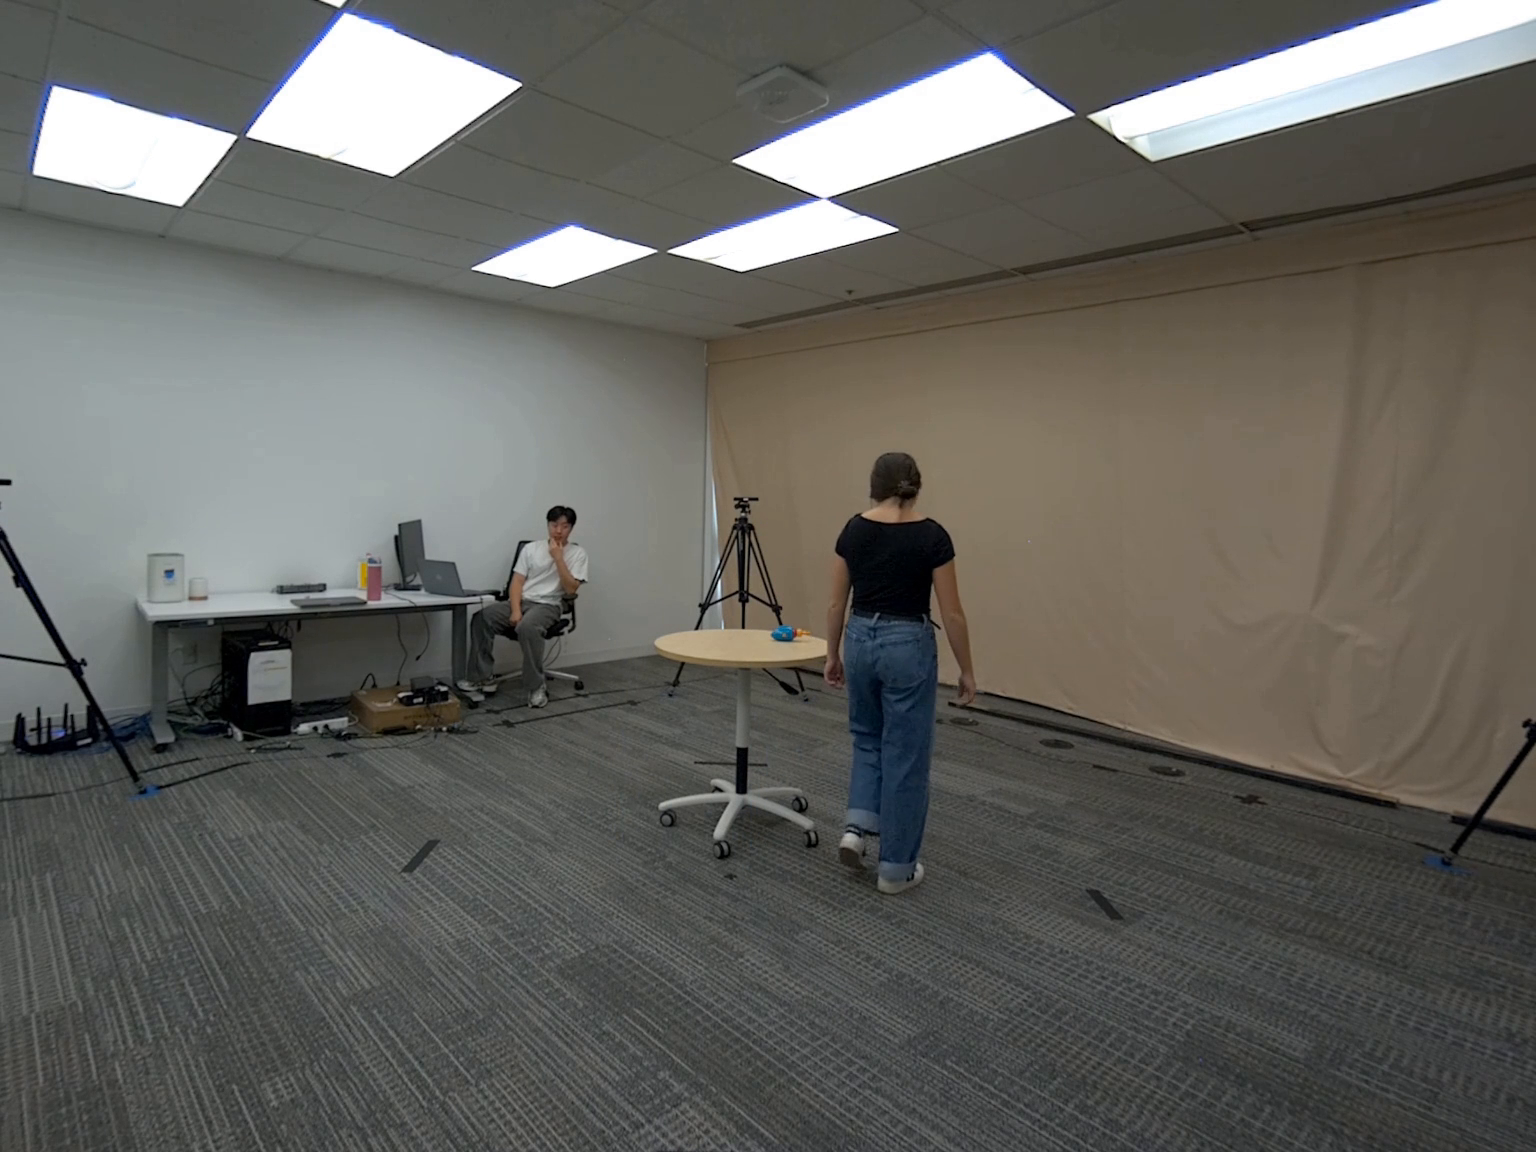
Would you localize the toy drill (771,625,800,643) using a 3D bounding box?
[{"bbox_3d":[0.094,0.249,3.694,0.171,0.061,0.145,-6,4,8],"label":"toy drill"}]
